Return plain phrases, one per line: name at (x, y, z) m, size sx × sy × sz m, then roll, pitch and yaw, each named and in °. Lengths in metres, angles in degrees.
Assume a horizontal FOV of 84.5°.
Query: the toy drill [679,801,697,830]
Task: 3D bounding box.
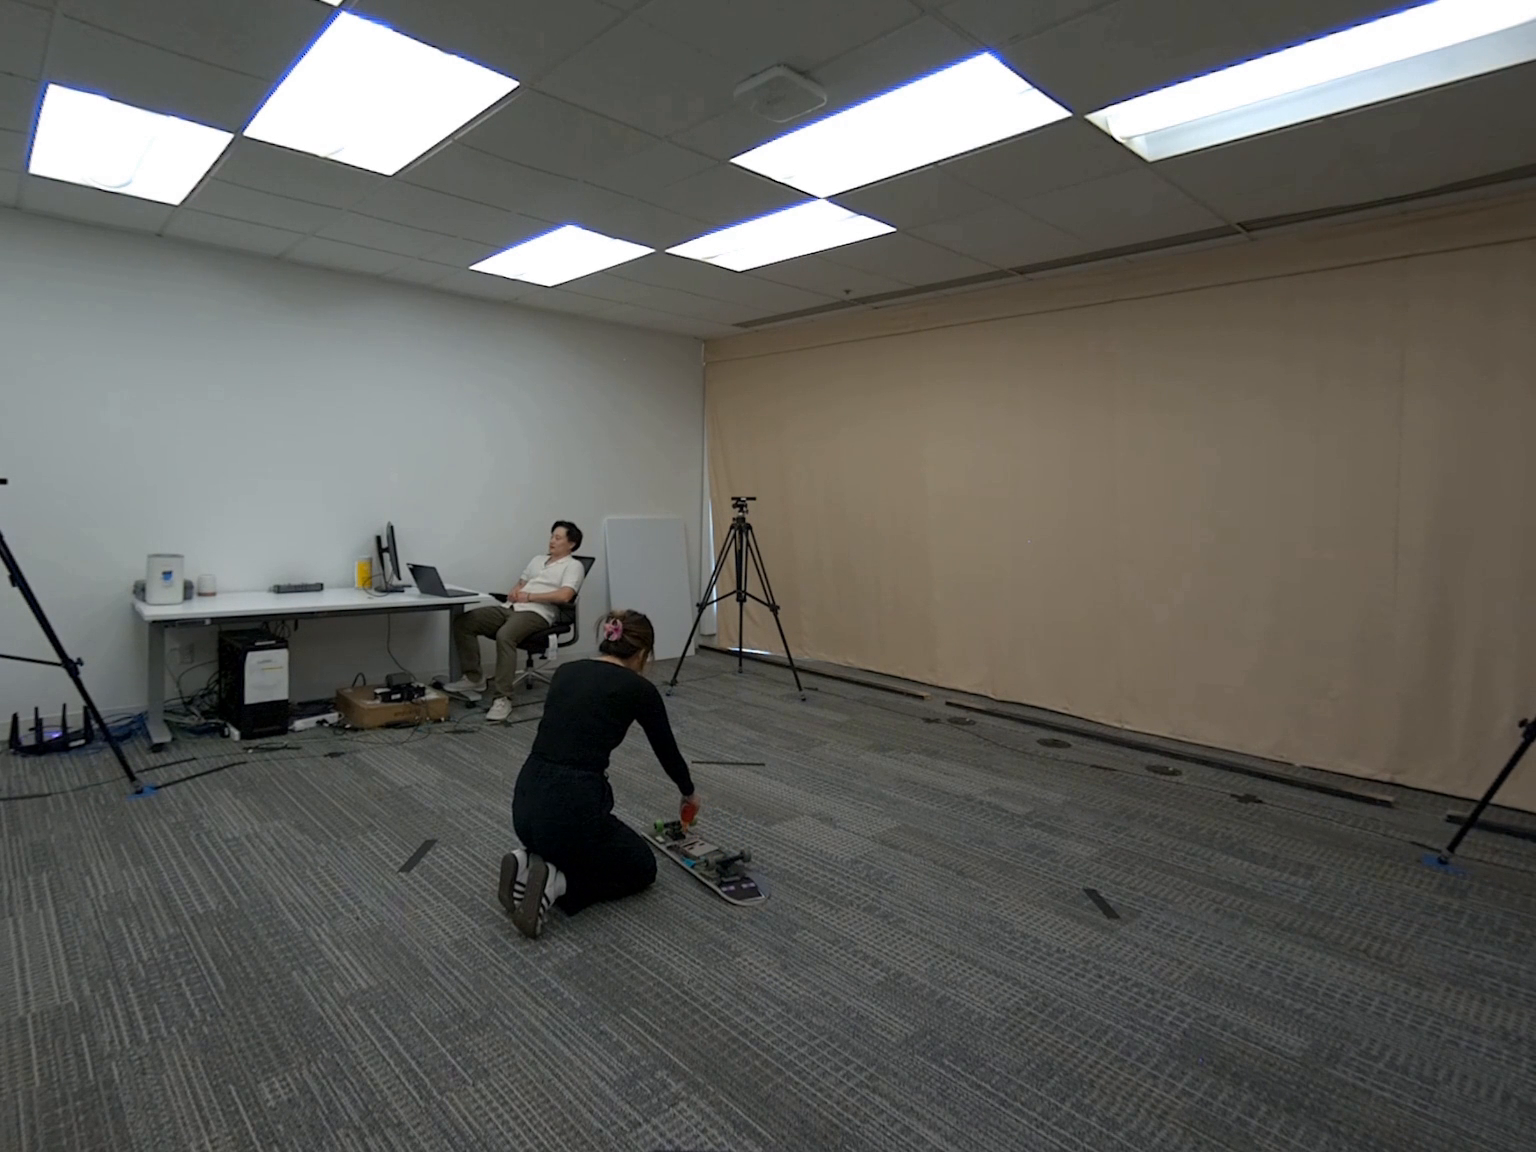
toy drill at (-0.330, 0.940, 3.326) m, size 0.061 × 0.169 × 0.146 m, roll 5°, pitch 3°, yaw -2°
